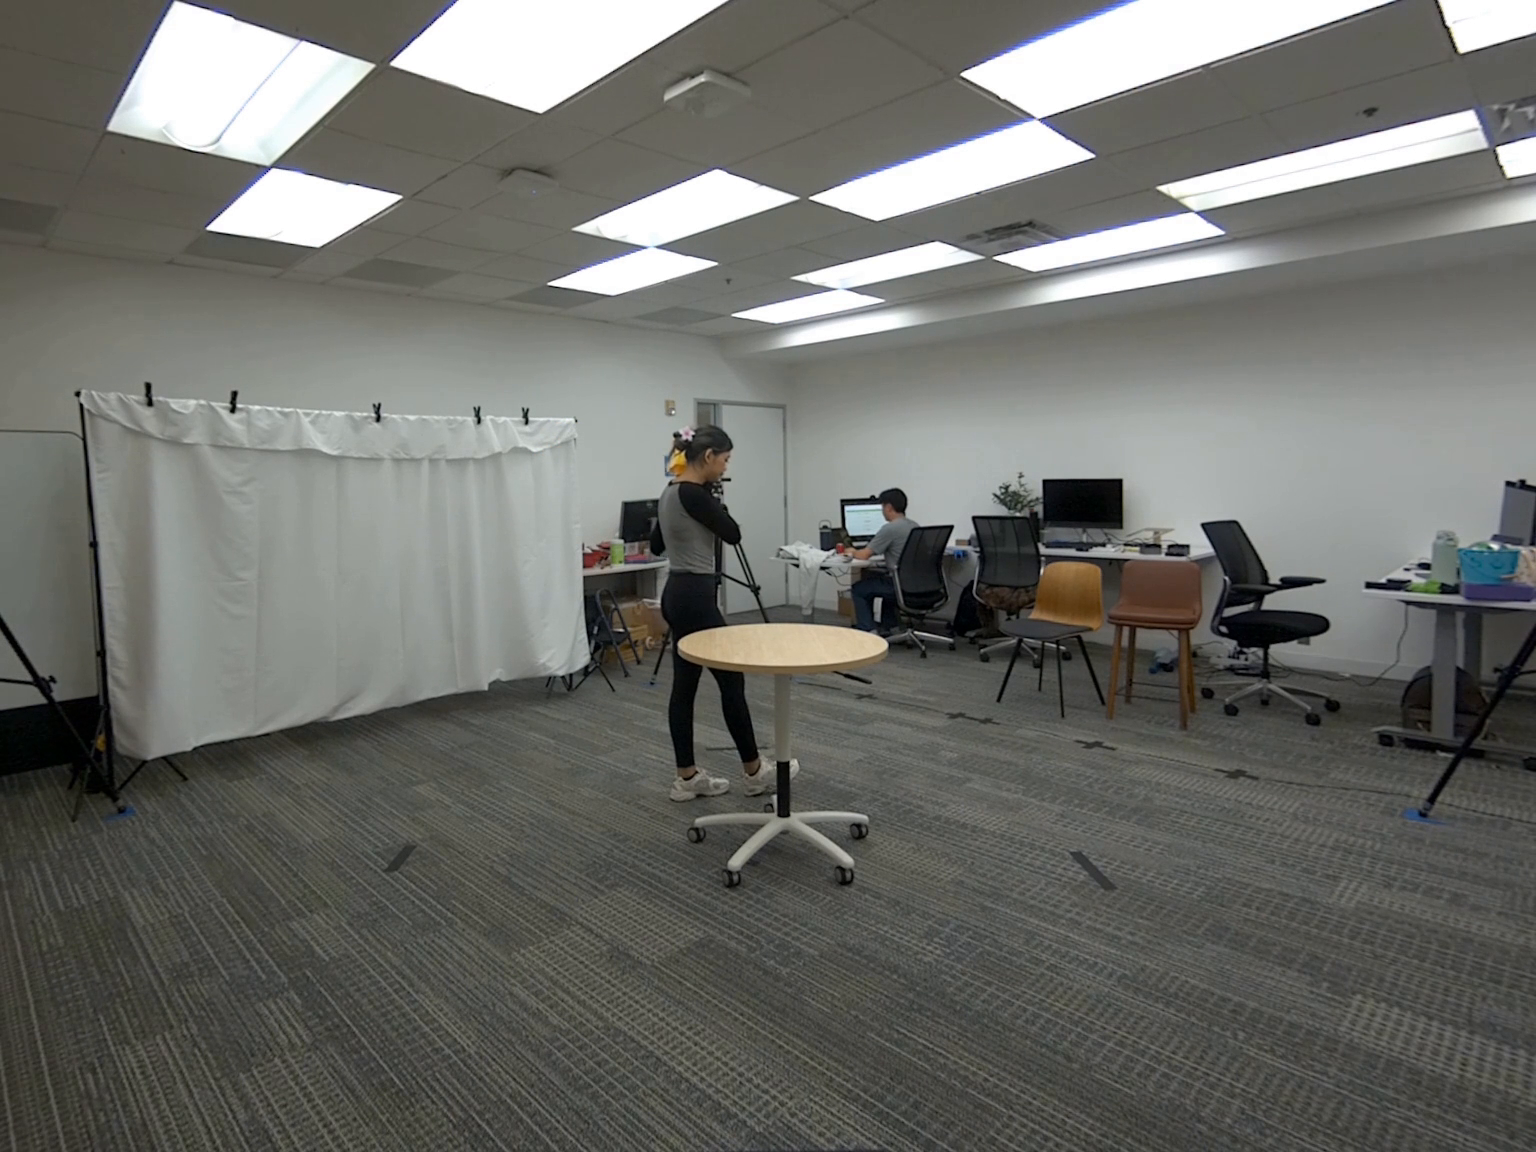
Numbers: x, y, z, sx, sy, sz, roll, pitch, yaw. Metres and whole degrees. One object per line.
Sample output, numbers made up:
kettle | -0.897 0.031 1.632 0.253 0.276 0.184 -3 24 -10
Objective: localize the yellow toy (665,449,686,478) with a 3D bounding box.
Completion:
yellow toy | -0.349 -0.536 3.923 0.190 0.232 0.206 -5 -5 -17
